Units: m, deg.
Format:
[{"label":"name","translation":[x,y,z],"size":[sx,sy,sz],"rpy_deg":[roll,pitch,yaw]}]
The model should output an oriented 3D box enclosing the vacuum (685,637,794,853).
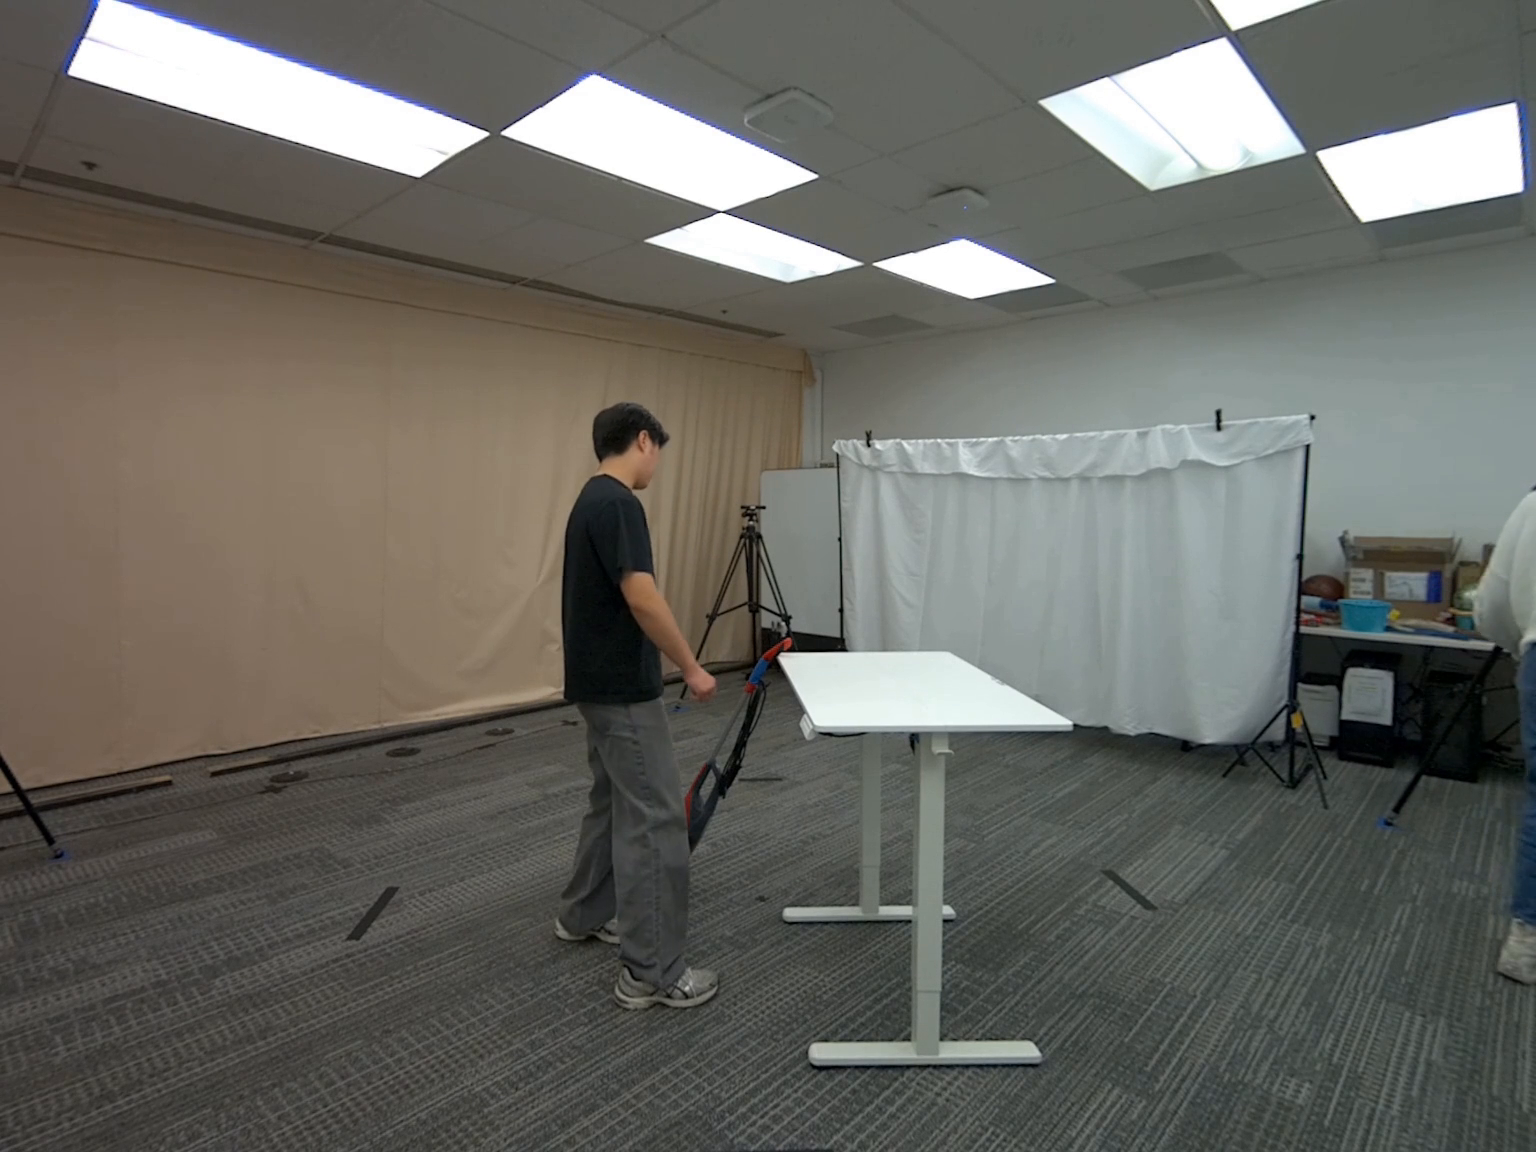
[{"label":"vacuum","translation":[-0.169,0.679,2.967],"size":[0.147,1.048,0.246],"rpy_deg":[32,14,19]}]
